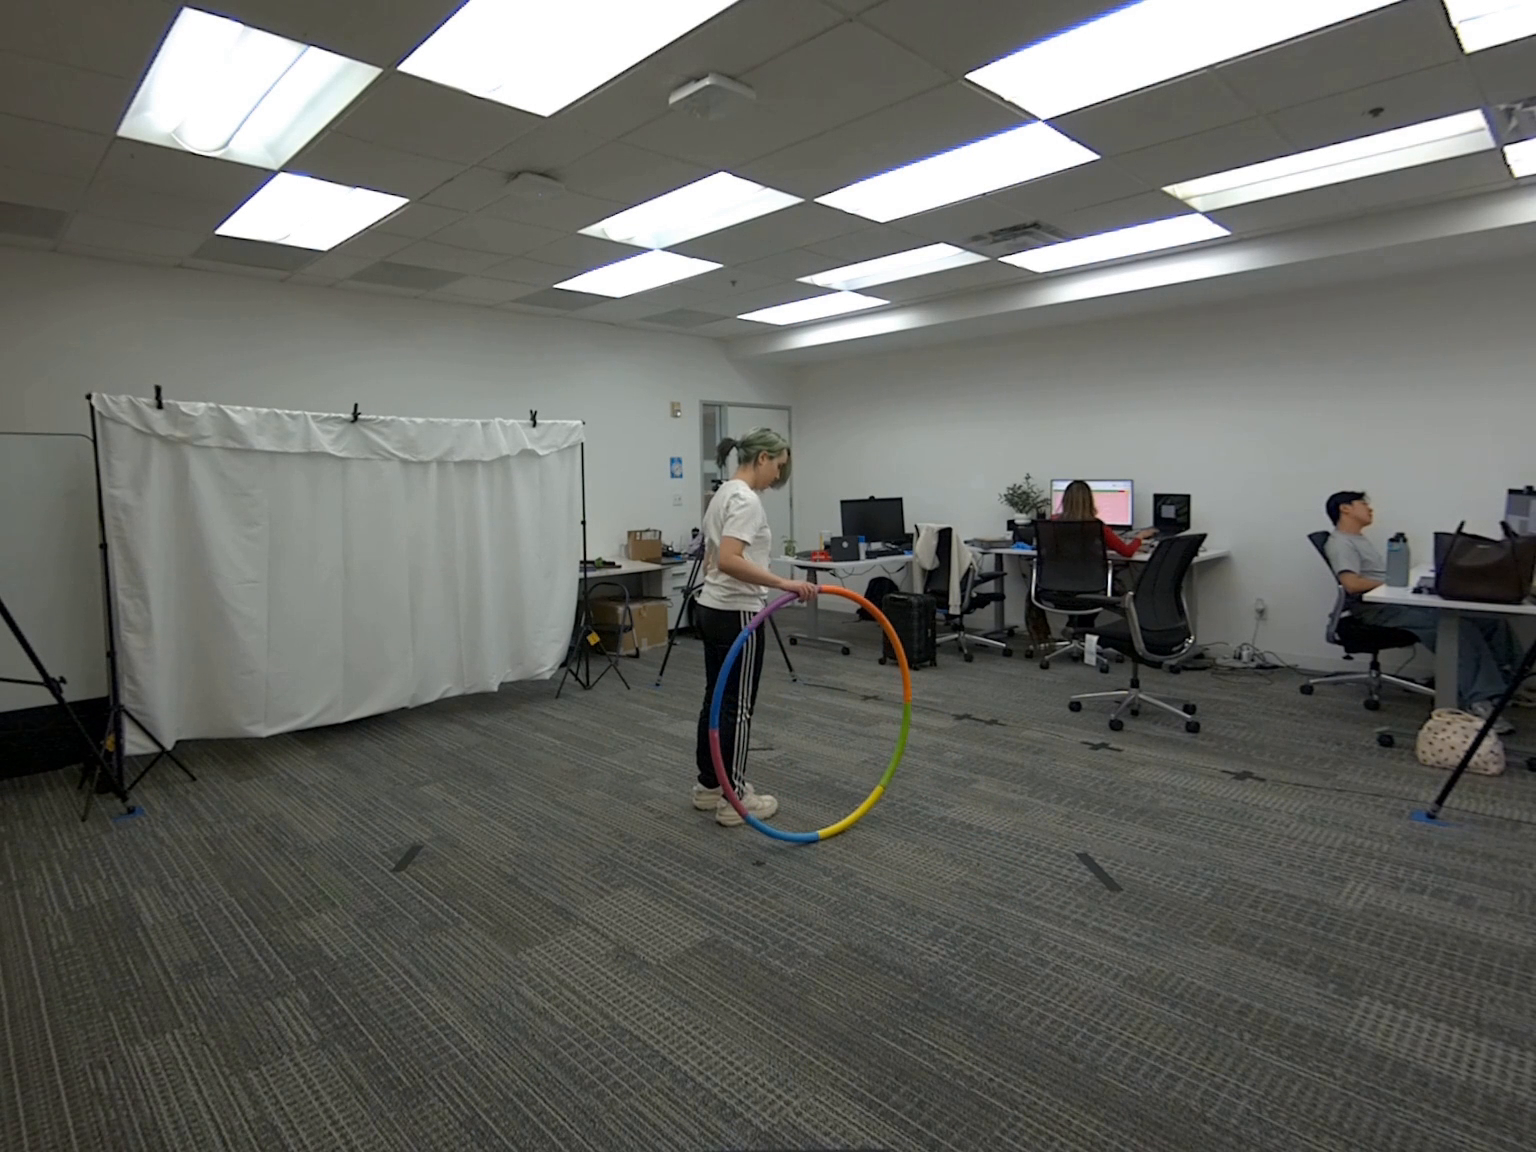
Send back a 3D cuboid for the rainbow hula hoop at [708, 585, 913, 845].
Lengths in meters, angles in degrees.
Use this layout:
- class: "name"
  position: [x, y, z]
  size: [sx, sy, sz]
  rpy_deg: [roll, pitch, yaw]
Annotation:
- class: "rainbow hula hoop"
  position: [0.191, 0.526, 3.314]
  size: [0.954, 0.978, 0.036]
  rpy_deg: [-4, 1, -34]
